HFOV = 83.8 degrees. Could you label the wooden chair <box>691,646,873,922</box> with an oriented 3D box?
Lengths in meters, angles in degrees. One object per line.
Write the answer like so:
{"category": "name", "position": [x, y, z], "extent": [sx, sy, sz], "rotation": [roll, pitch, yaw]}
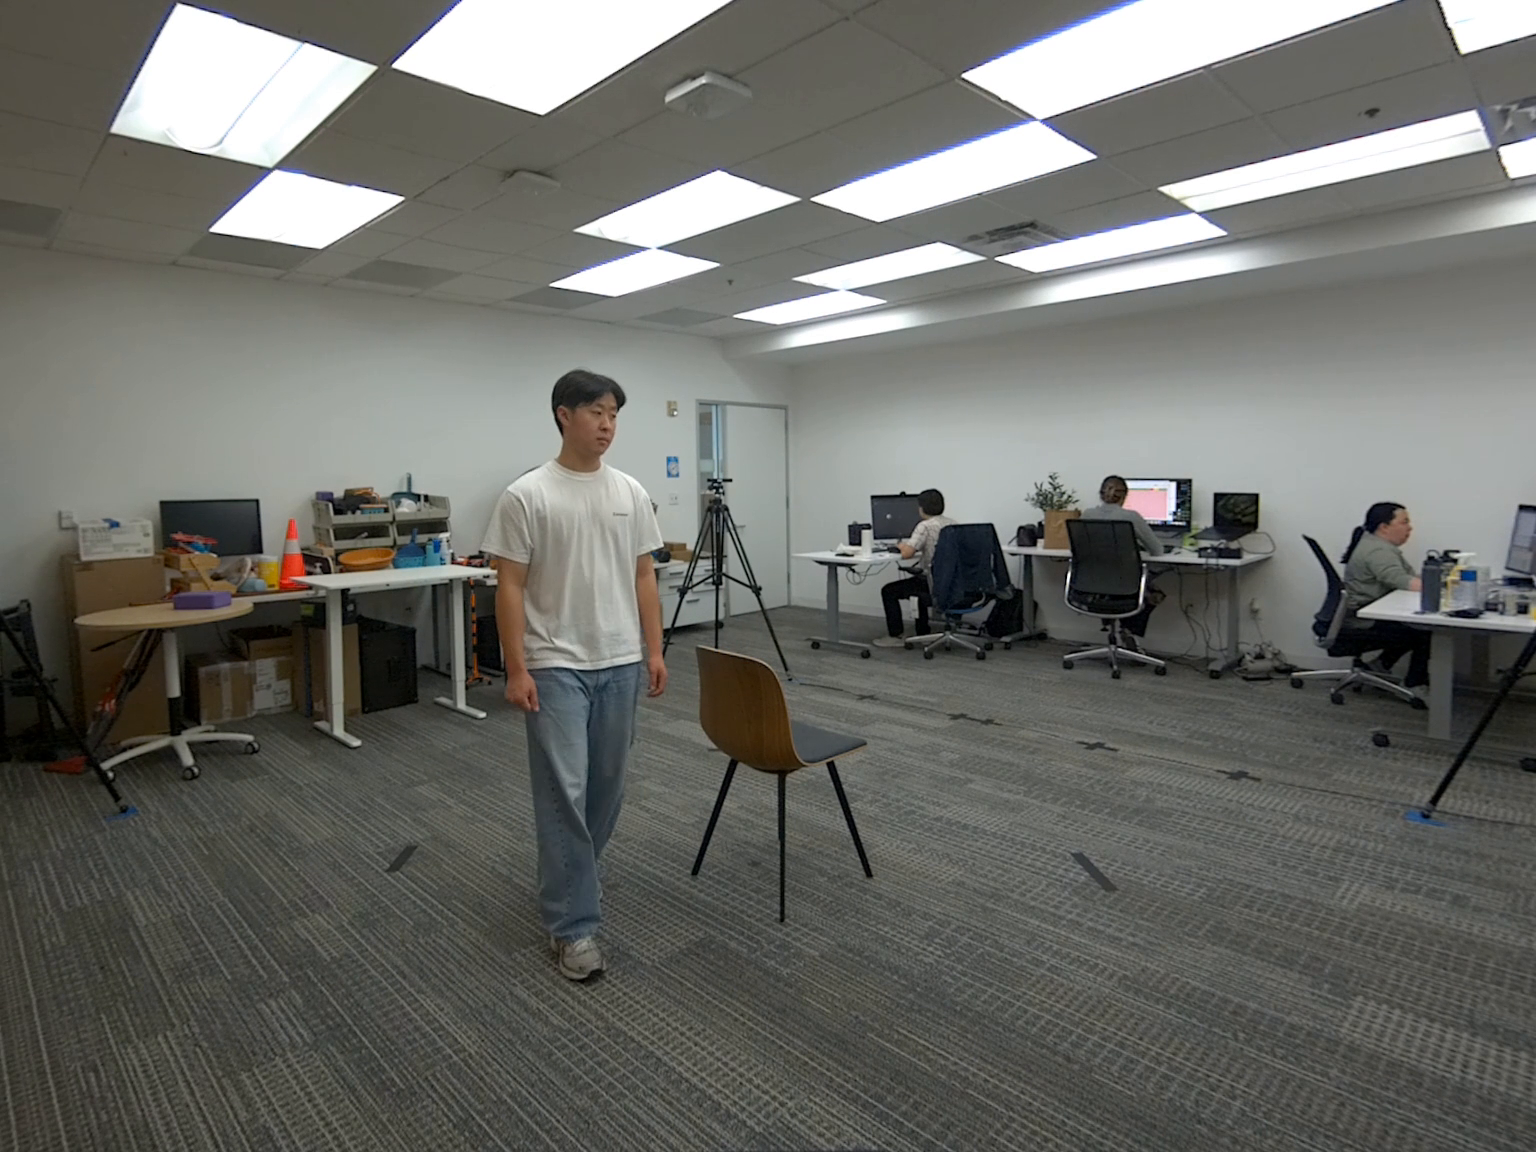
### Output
{"category": "wooden chair", "position": [0.047, 0.632, 2.975], "extent": [0.511, 0.871, 0.493], "rotation": [-11, 10, -43]}
